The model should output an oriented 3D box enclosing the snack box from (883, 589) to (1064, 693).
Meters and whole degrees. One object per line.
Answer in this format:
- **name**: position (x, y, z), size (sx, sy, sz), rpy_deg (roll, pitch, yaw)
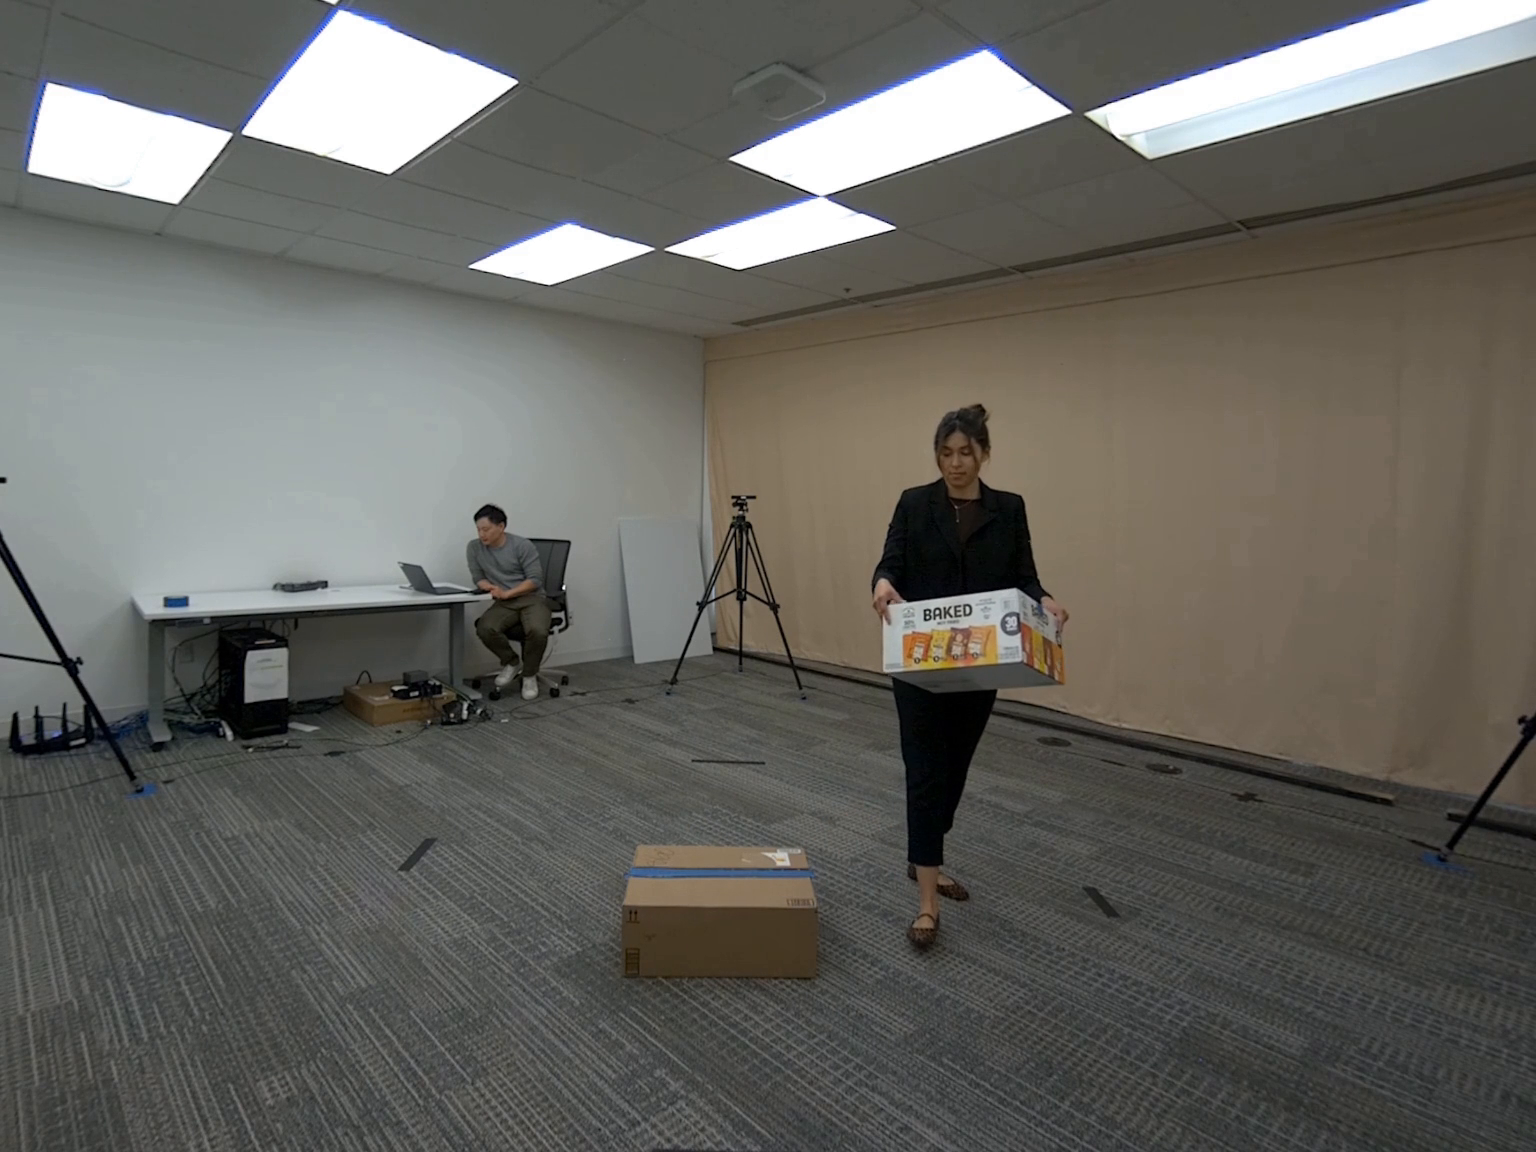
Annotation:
- **snack box**: position (0.593, 0.202, 2.450), size (0.412, 0.208, 0.330), rpy_deg (-11, -23, 36)
